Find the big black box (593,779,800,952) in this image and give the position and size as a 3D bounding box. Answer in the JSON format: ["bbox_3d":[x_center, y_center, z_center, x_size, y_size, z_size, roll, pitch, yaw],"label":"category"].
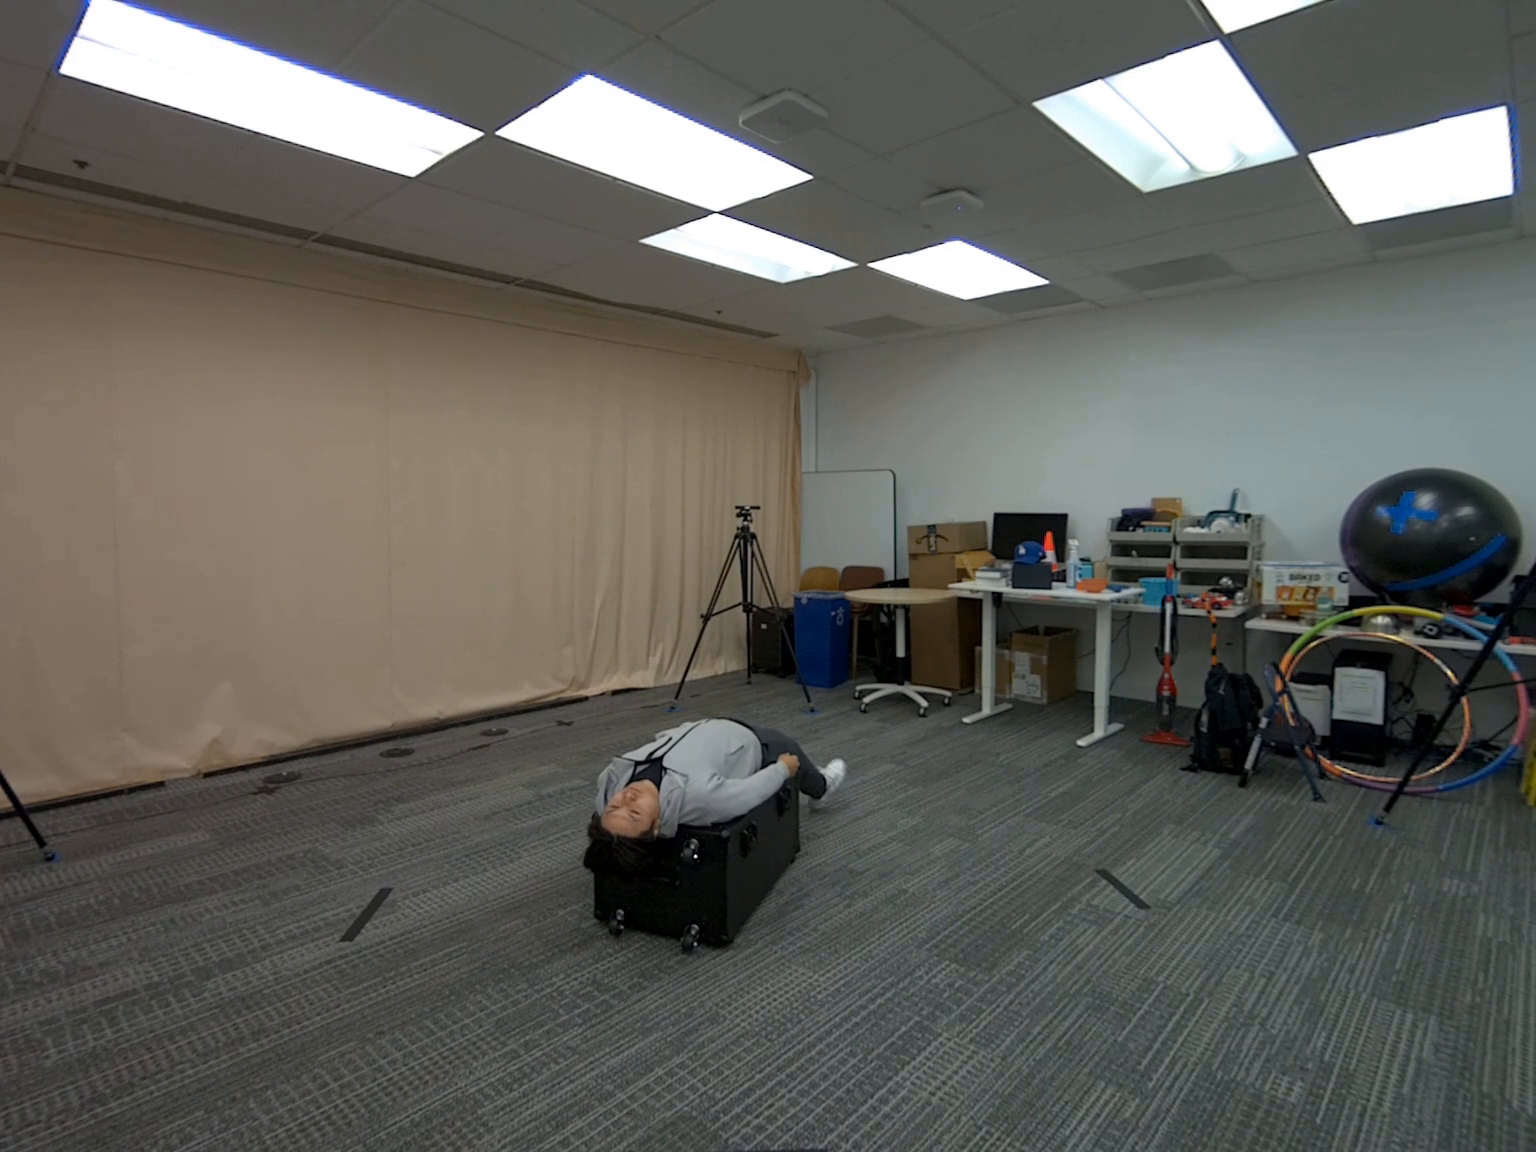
[{"bbox_3d":[-0.212,0.954,3.090,0.533,0.395,0.845,1,5,21],"label":"big black box"}]
